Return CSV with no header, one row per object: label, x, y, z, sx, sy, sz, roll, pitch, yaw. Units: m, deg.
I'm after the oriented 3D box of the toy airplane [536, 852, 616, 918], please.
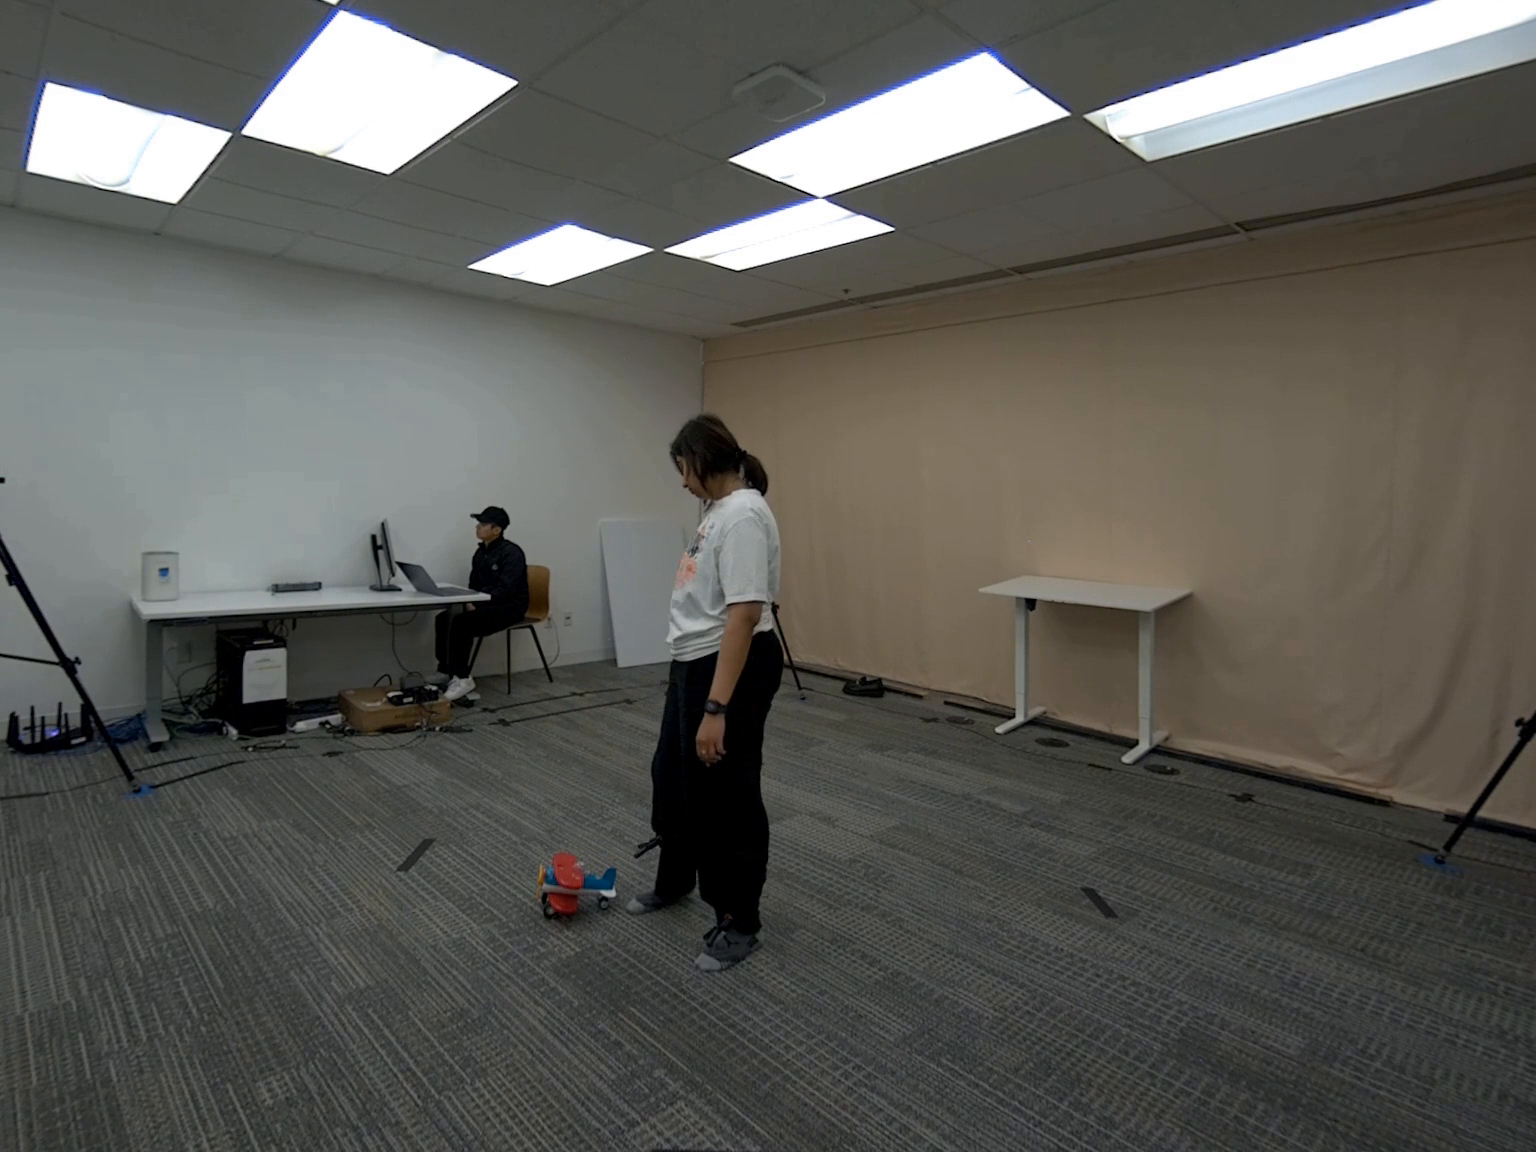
toy airplane,-0.656,1.045,2.833,0.253,0.156,0.257,-4,7,-43
